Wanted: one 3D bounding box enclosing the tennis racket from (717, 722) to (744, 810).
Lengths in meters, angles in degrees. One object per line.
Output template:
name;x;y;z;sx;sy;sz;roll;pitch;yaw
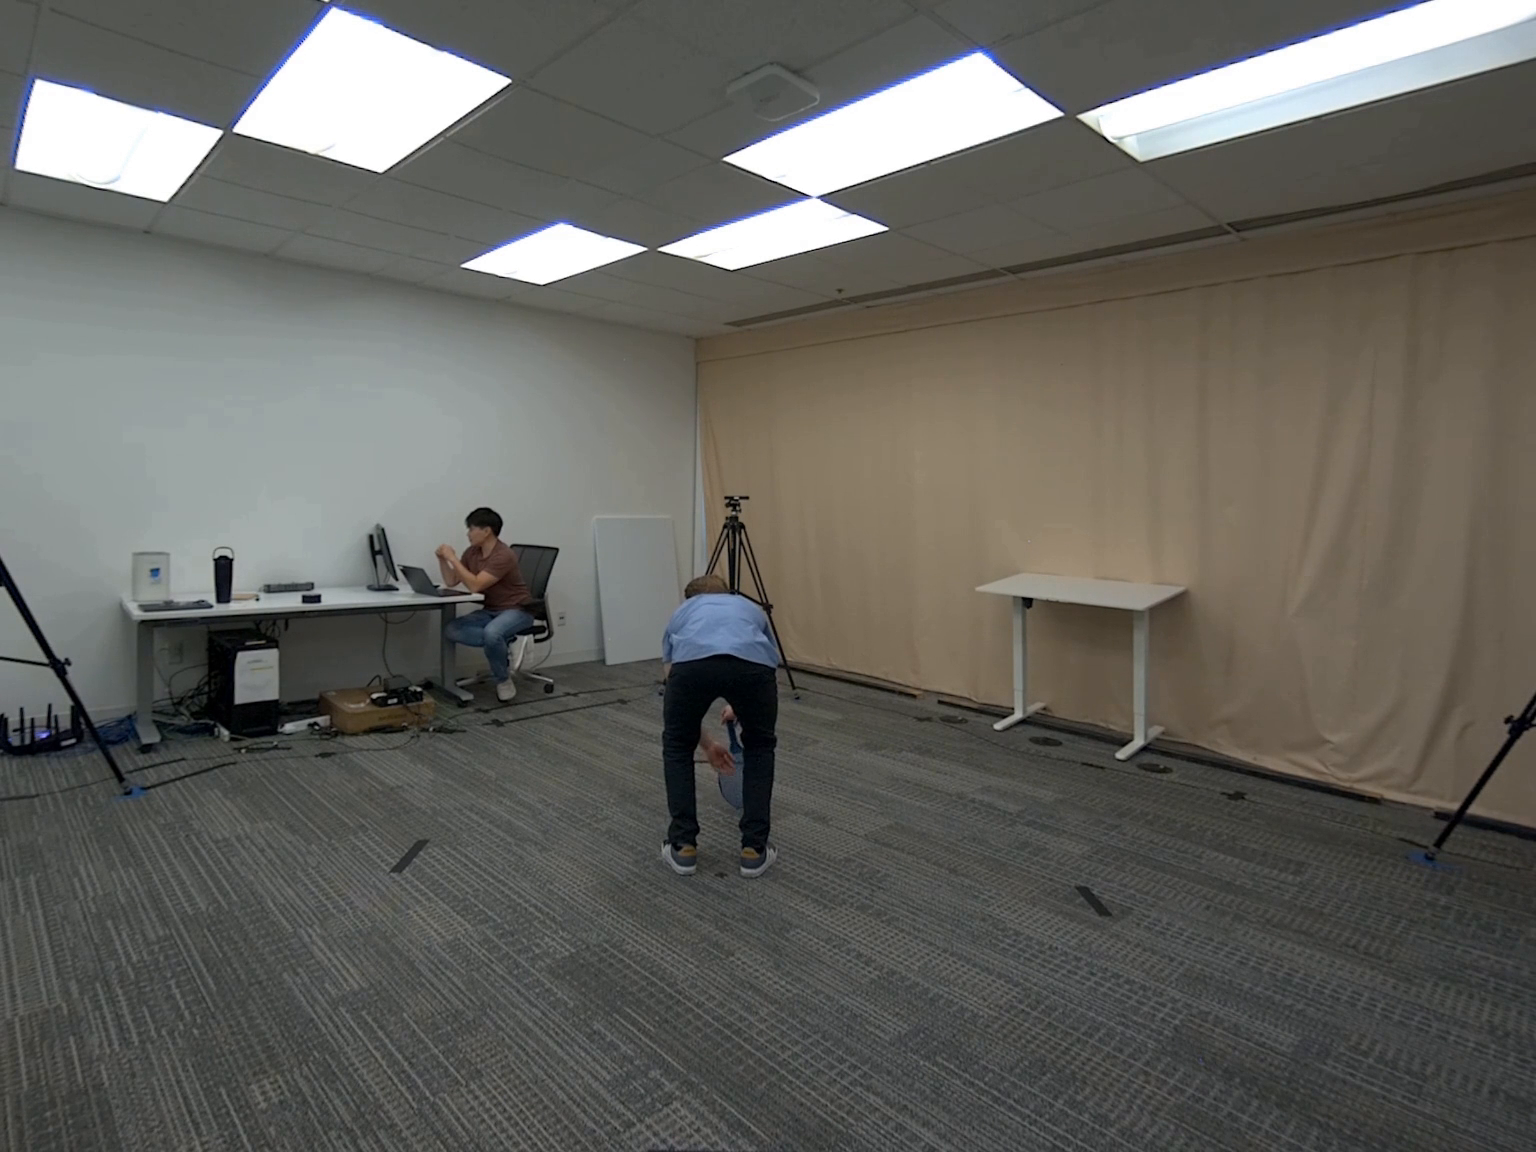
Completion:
tennis racket;-0.153;0.834;3.769;0.211;0.430;0.032;-13;8;-26
